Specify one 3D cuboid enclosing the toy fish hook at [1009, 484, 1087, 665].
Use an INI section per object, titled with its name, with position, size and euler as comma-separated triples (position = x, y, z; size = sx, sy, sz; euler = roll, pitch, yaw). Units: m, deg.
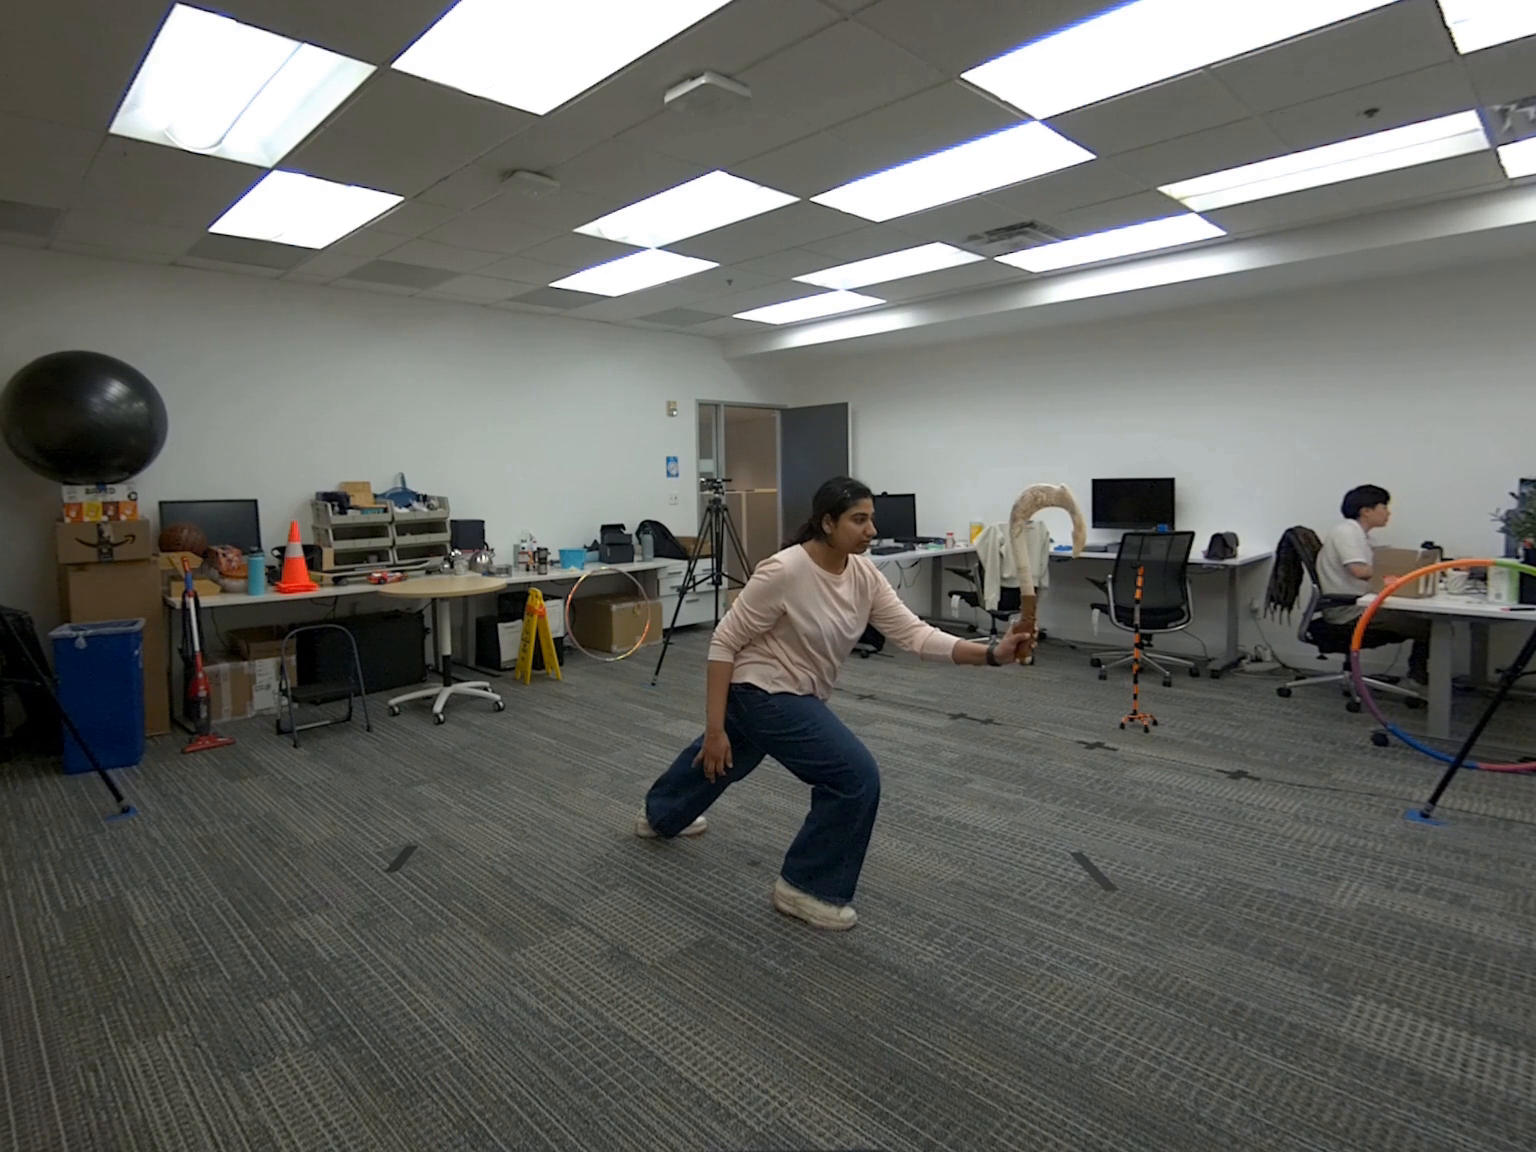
[toy fish hook]
position = 0.758, -0.002, 2.332
size = 0.047, 0.506, 0.231
euler = 1, 2, -37
